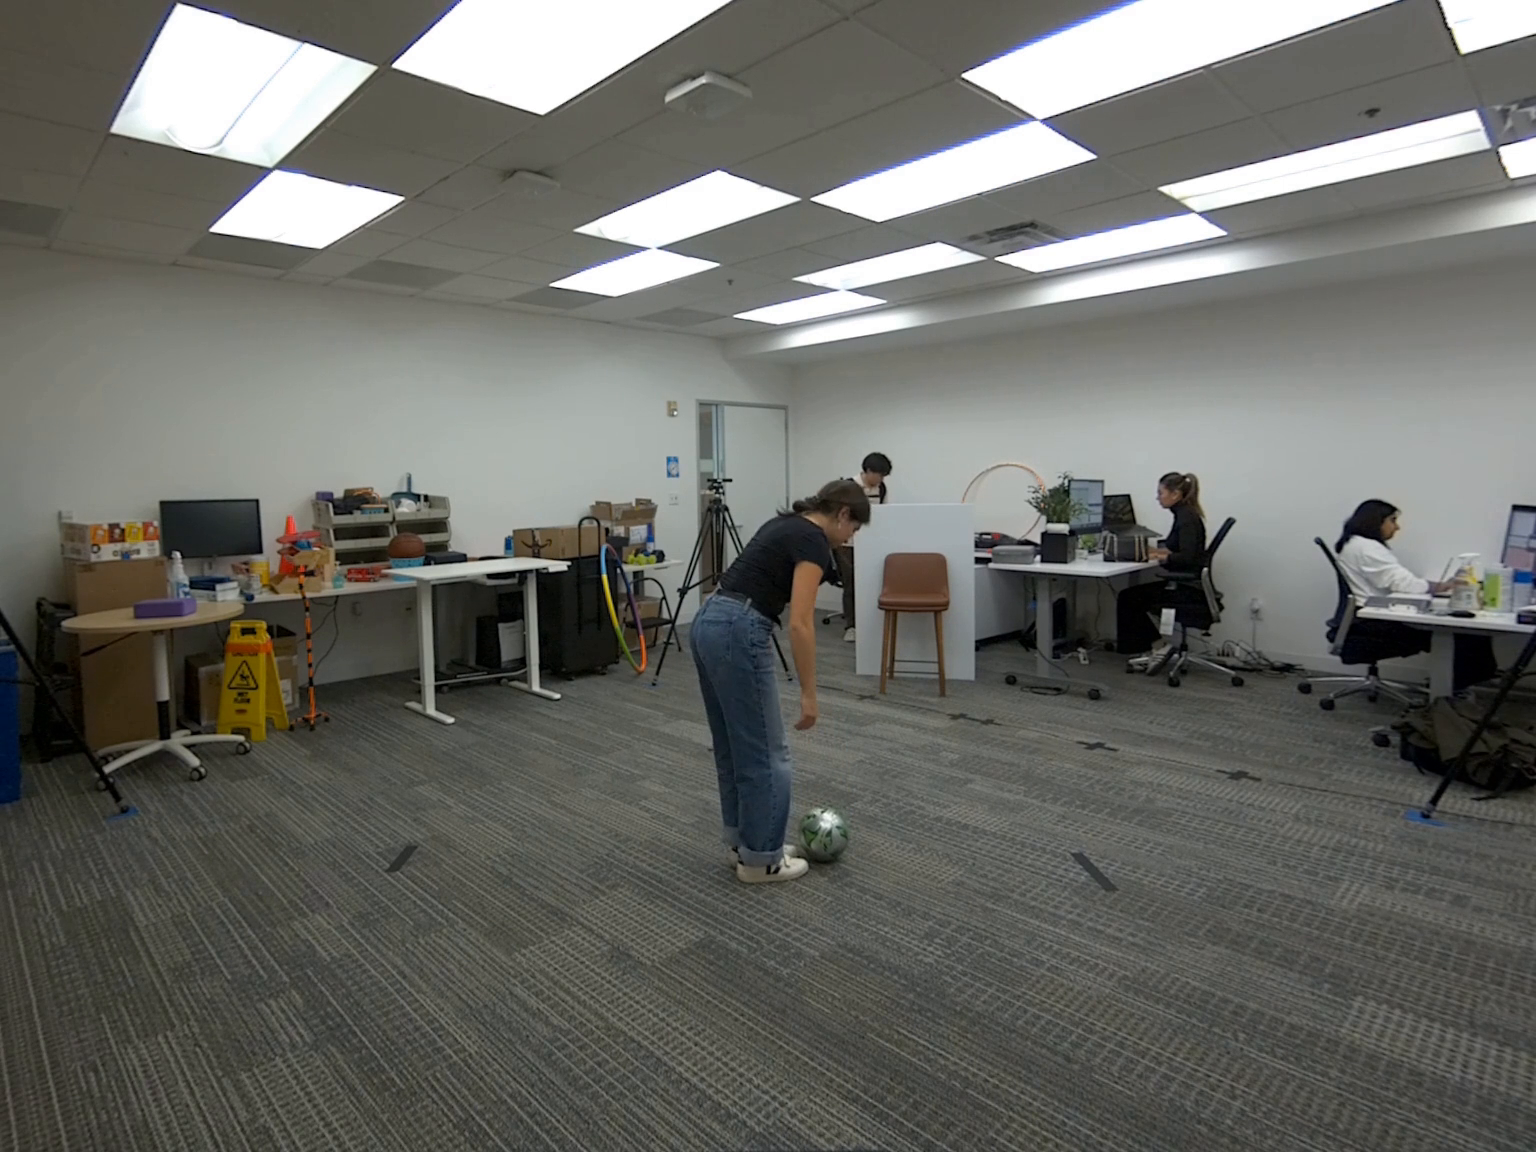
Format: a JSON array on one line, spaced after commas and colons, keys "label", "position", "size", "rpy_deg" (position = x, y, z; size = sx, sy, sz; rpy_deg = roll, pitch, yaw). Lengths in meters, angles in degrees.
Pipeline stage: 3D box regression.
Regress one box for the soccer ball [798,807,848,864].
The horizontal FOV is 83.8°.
[{"label": "soccer ball", "position": [0.203, 0.938, 3.127], "size": [0.187, 0.187, 0.188], "rpy_deg": [-1, 5, -2]}]
